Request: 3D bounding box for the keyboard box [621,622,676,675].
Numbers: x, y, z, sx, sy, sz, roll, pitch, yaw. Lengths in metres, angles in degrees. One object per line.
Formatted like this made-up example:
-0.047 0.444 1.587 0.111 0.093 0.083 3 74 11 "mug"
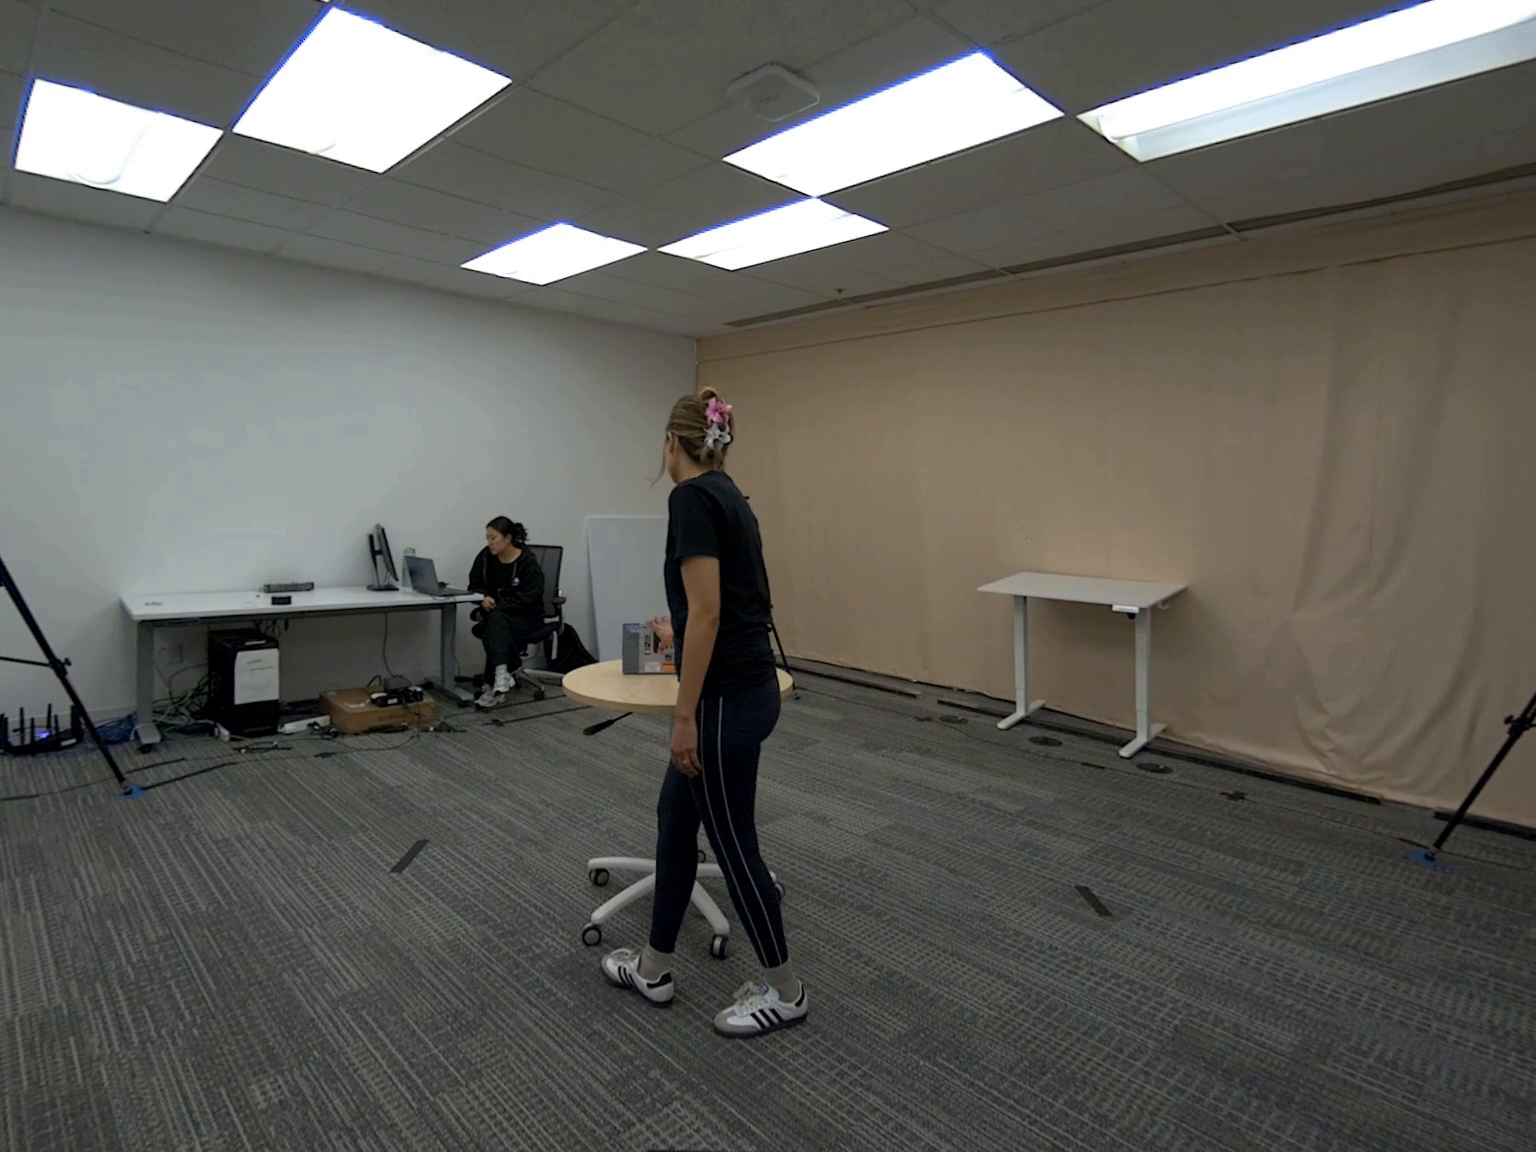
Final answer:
-0.285 0.250 2.896 0.435 0.176 0.059 0 1 -4 "keyboard box"
